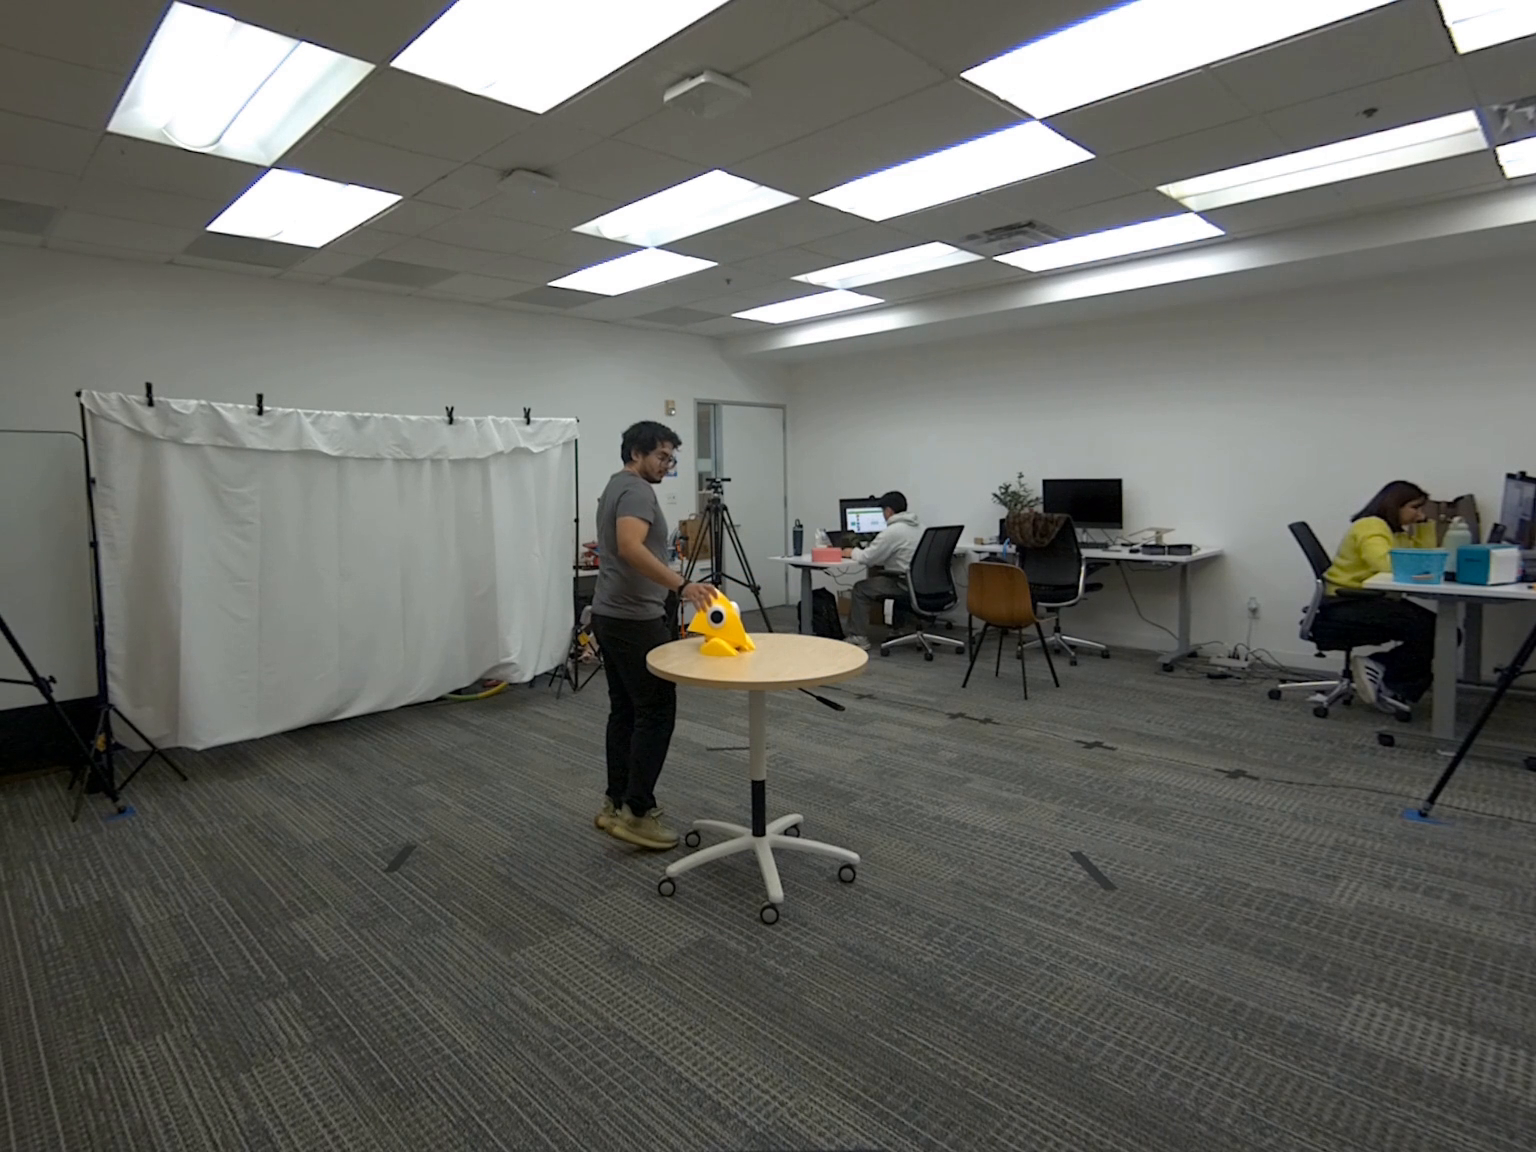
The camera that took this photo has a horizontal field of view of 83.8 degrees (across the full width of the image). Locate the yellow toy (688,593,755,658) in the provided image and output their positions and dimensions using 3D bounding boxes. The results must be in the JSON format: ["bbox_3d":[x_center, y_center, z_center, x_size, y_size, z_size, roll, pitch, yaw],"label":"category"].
[{"bbox_3d":[-0.149,0.152,3.045,0.198,0.230,0.200,3,6,33],"label":"yellow toy"}]
